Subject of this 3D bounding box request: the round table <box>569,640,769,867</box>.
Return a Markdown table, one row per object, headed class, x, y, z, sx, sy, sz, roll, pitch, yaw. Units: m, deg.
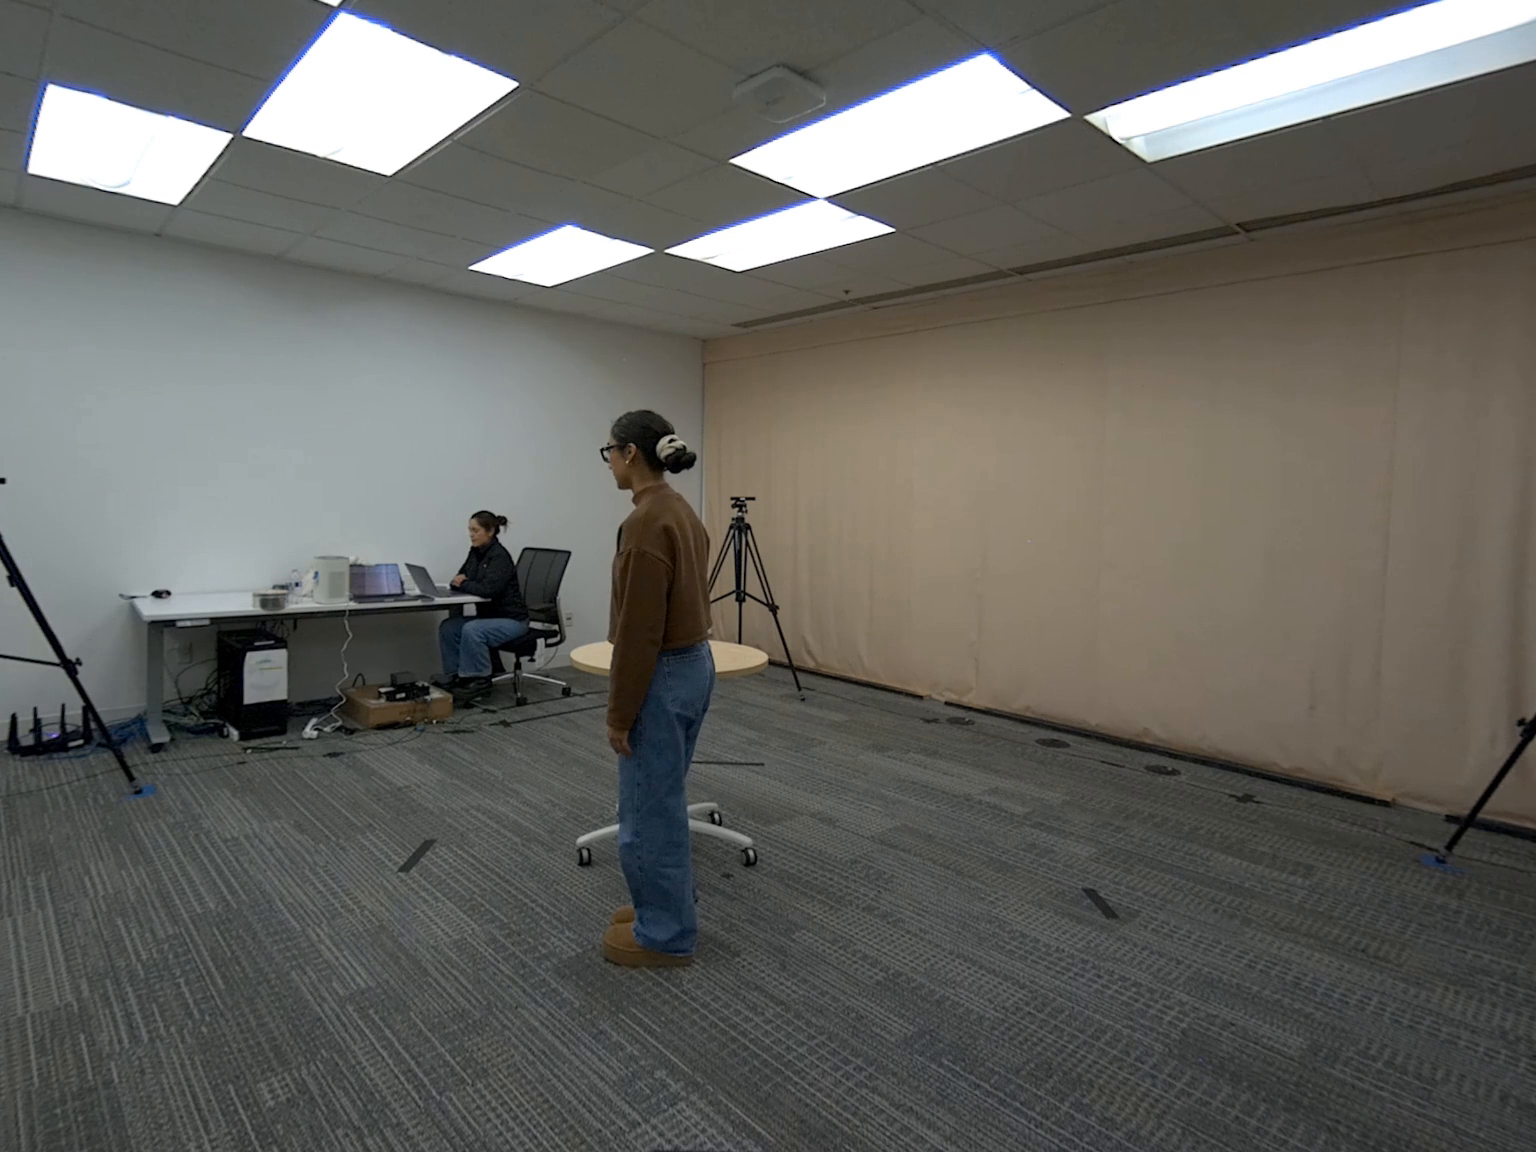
| class | x | y | z | sx | sy | sz | roll | pitch | yaw |
| --- | --- | --- | --- | --- | --- | --- | --- | --- | --- |
| round table | -0.403 | 0.699 | 3.291 | 0.763 | 0.792 | 0.766 | 1 | 3 | -1 |
